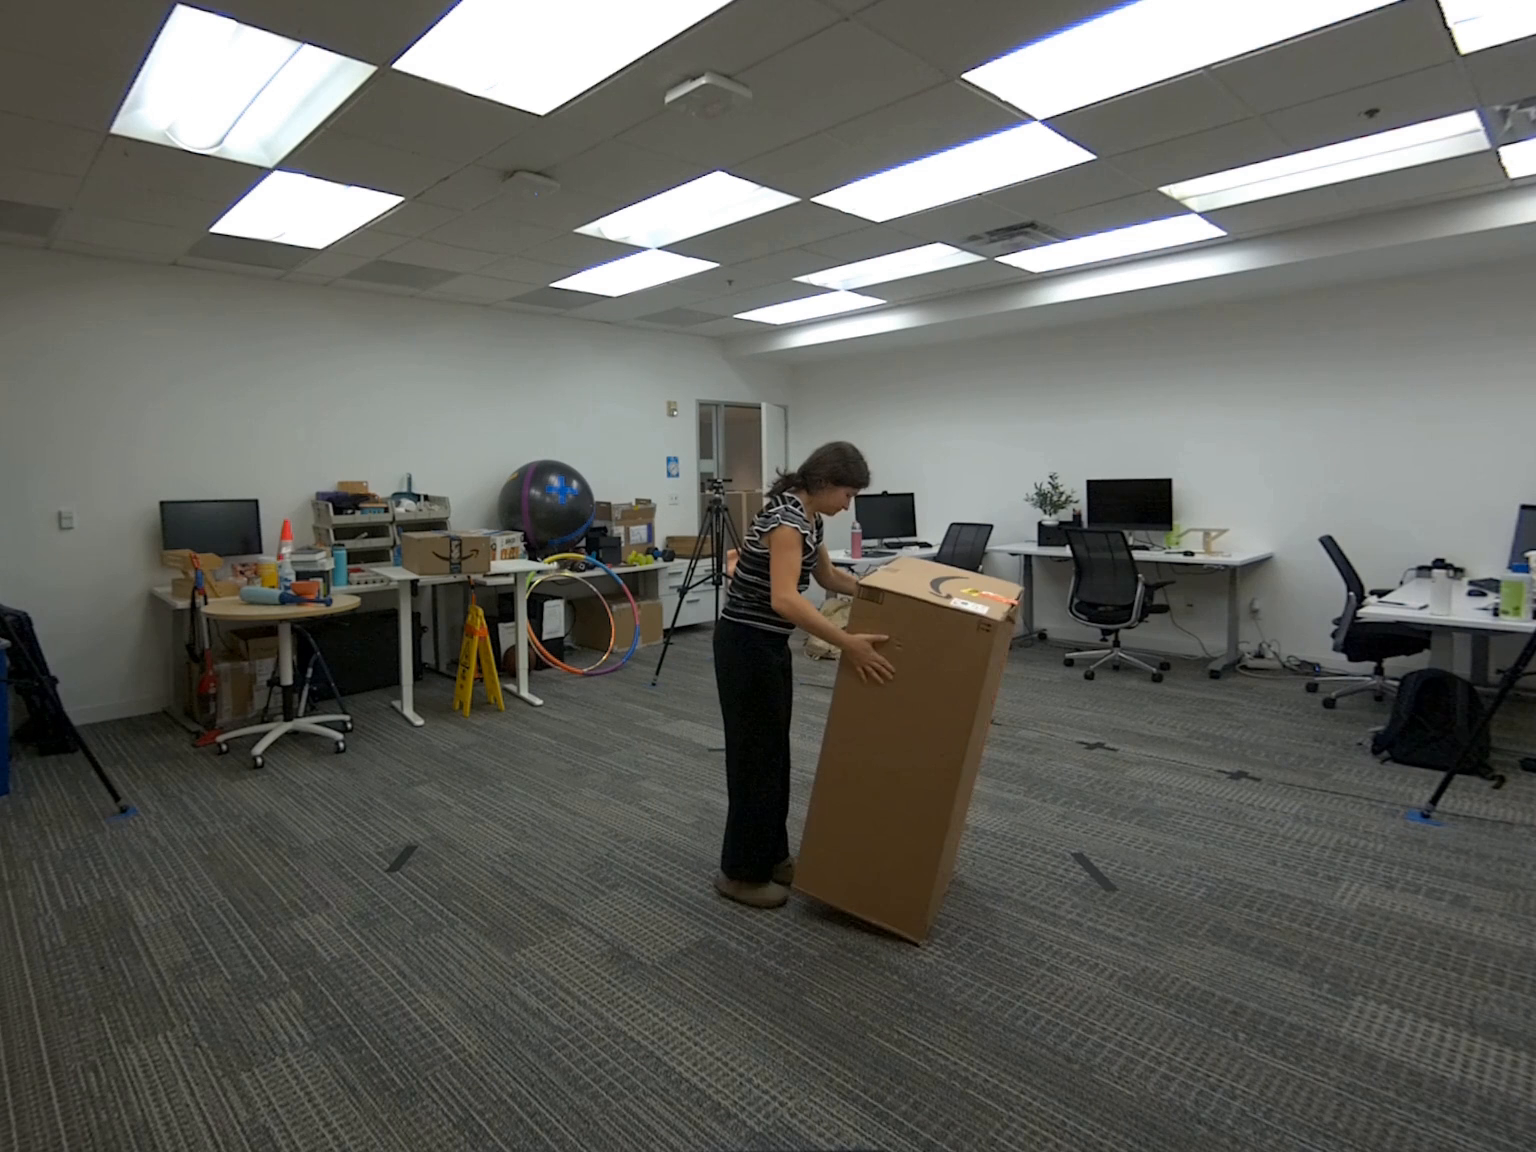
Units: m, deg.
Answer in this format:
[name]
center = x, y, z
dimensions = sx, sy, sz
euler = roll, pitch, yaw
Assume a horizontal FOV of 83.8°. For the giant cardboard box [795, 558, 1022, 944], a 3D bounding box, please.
[giant cardboard box]
center = 0.460, 0.516, 2.771
dimensions = 0.437, 1.017, 0.568
euler = 14, 13, 21
